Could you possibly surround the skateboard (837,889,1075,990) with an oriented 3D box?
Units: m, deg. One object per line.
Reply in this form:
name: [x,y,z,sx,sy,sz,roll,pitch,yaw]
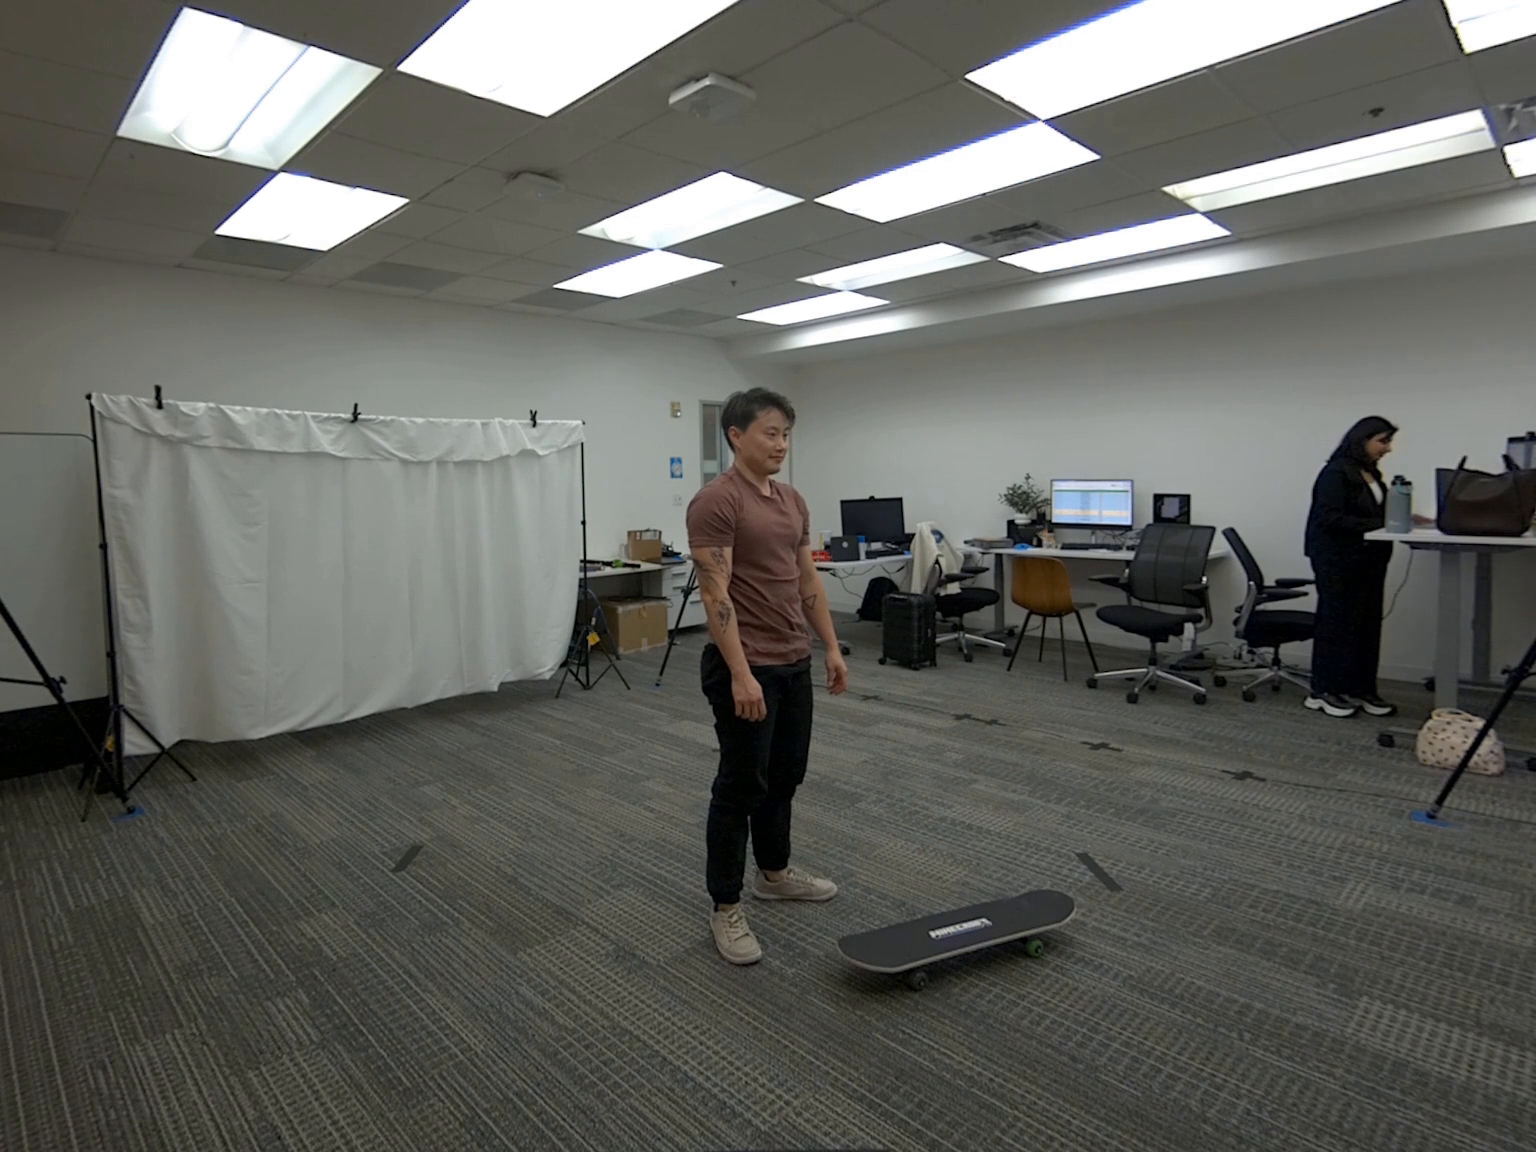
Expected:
skateboard: [0.566,1.052,2.473,0.771,0.110,0.198,-4,5,-21]
